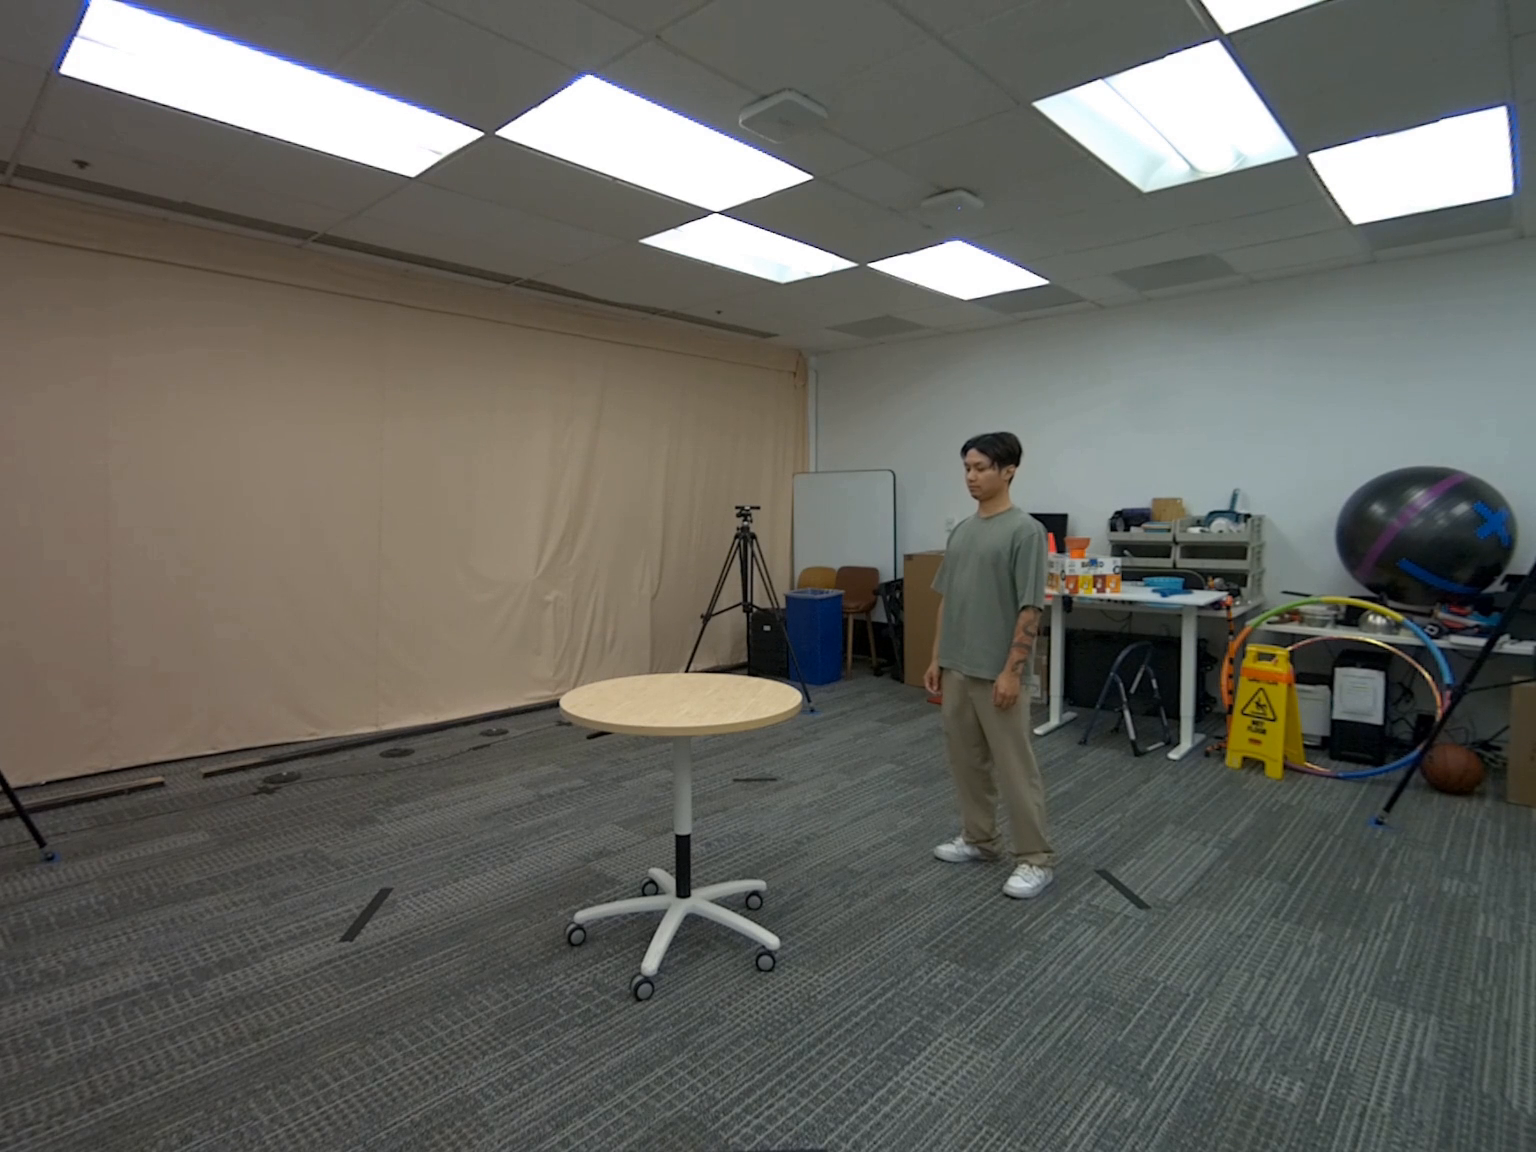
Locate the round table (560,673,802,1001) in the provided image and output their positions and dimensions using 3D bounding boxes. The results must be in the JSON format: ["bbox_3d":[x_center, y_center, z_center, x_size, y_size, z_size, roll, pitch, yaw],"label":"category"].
[{"bbox_3d":[-0.262,0.775,2.682,0.784,0.785,0.788,-1,4,-2],"label":"round table"}]
